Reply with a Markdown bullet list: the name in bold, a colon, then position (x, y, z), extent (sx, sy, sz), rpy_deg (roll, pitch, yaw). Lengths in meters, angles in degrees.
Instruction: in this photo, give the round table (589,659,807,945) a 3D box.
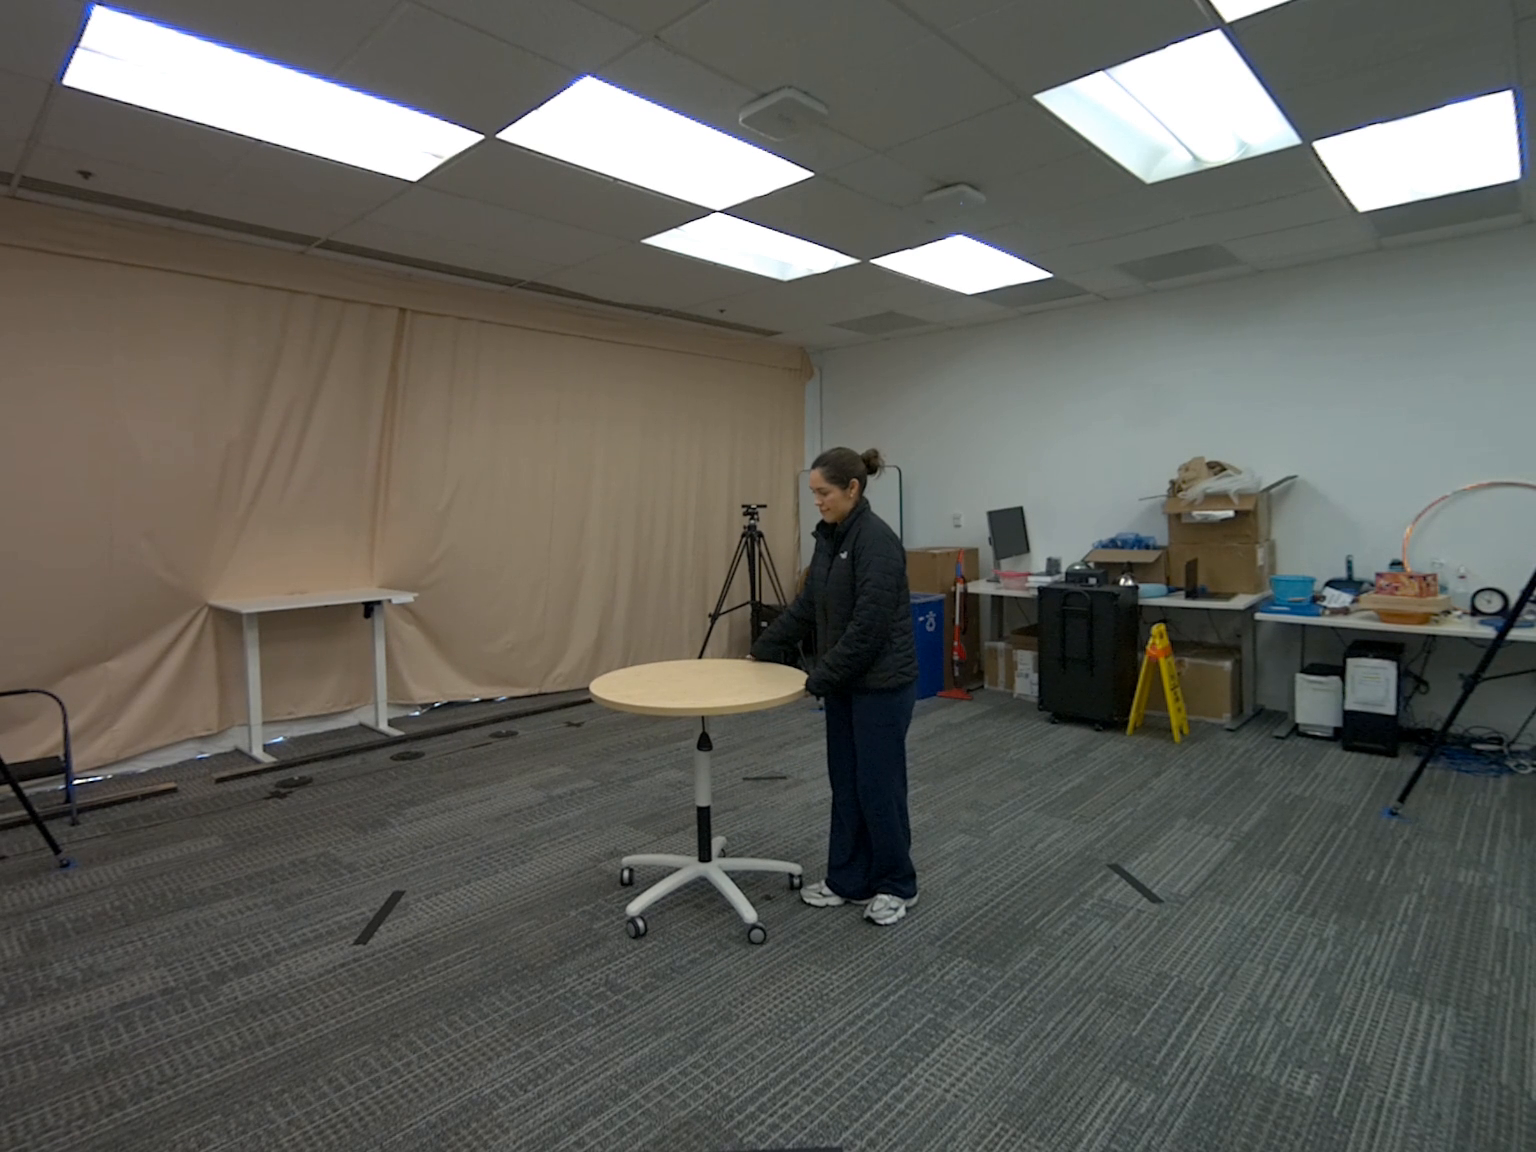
- **round table**: position (-0.227, 0.755, 2.954), extent (0.784, 0.784, 0.788), rpy_deg (-1, 4, -2)
